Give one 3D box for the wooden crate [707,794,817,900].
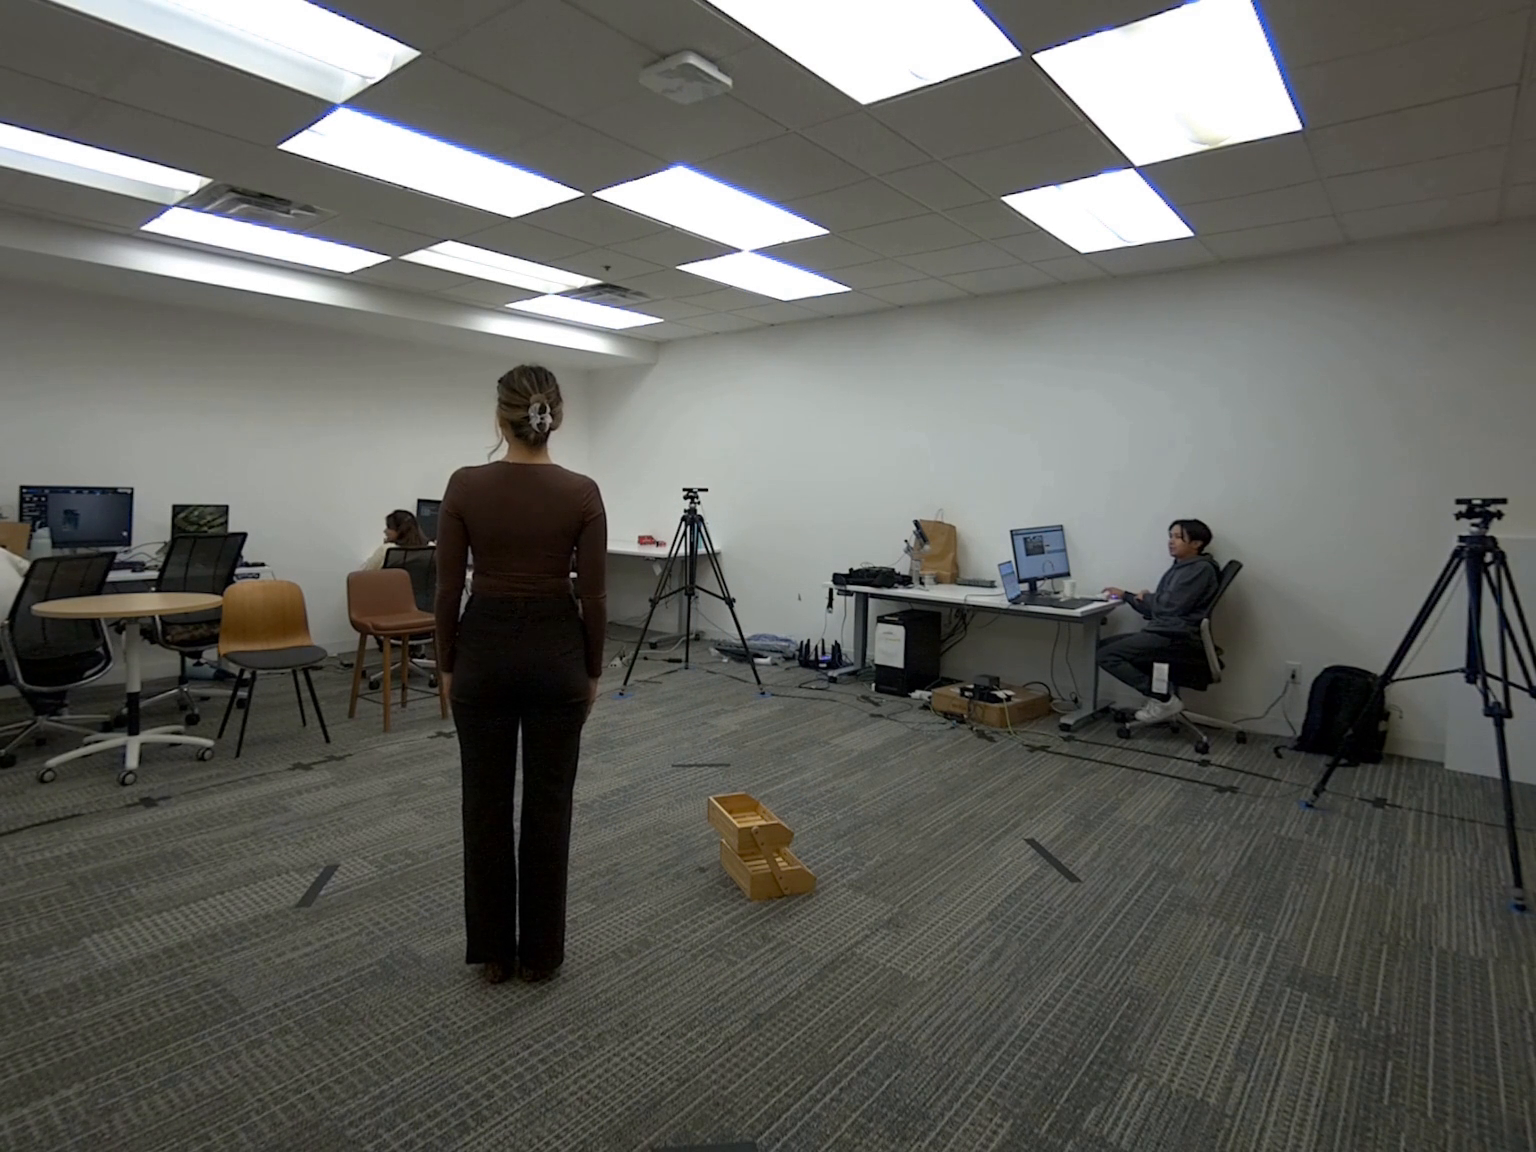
[{"bbox_3d":[-0.030,0.944,3.040,0.295,0.272,0.333,-1,5,-23],"label":"wooden crate"}]
